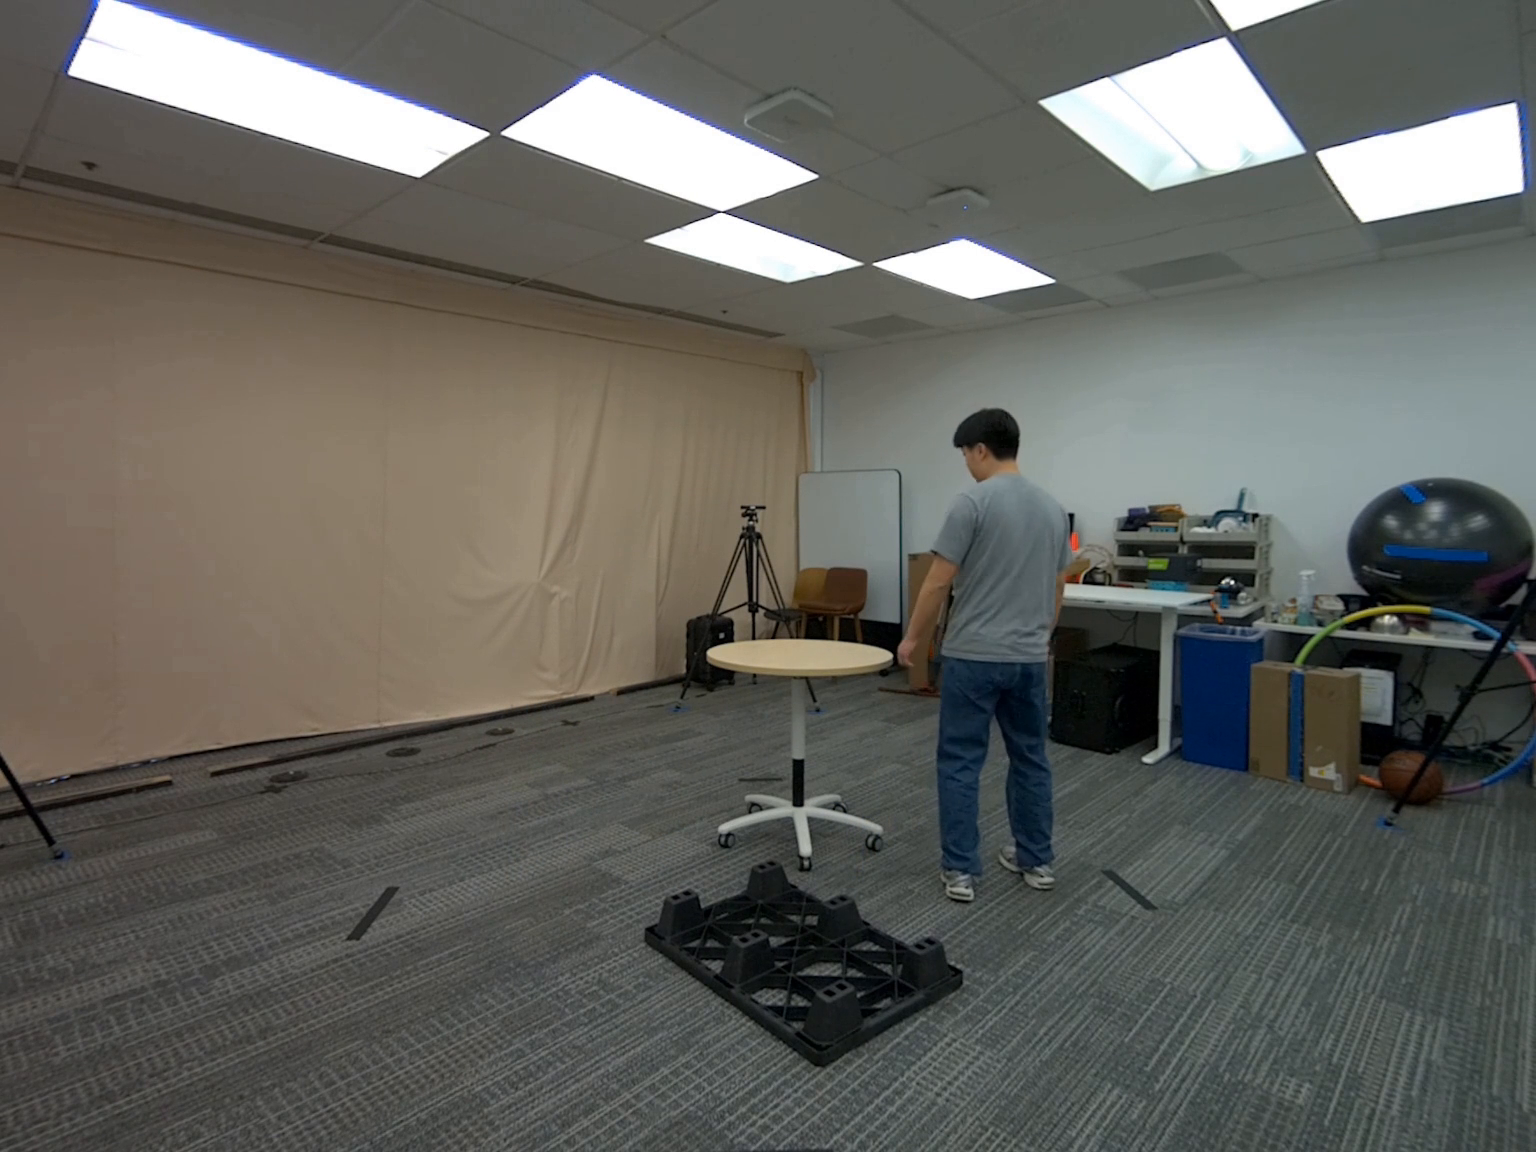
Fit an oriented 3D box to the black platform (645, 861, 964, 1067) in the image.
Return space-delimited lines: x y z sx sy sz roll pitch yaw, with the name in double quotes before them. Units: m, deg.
"black platform" 0.095 1.113 2.568 0.587 0.143 0.832 -5 7 -40
